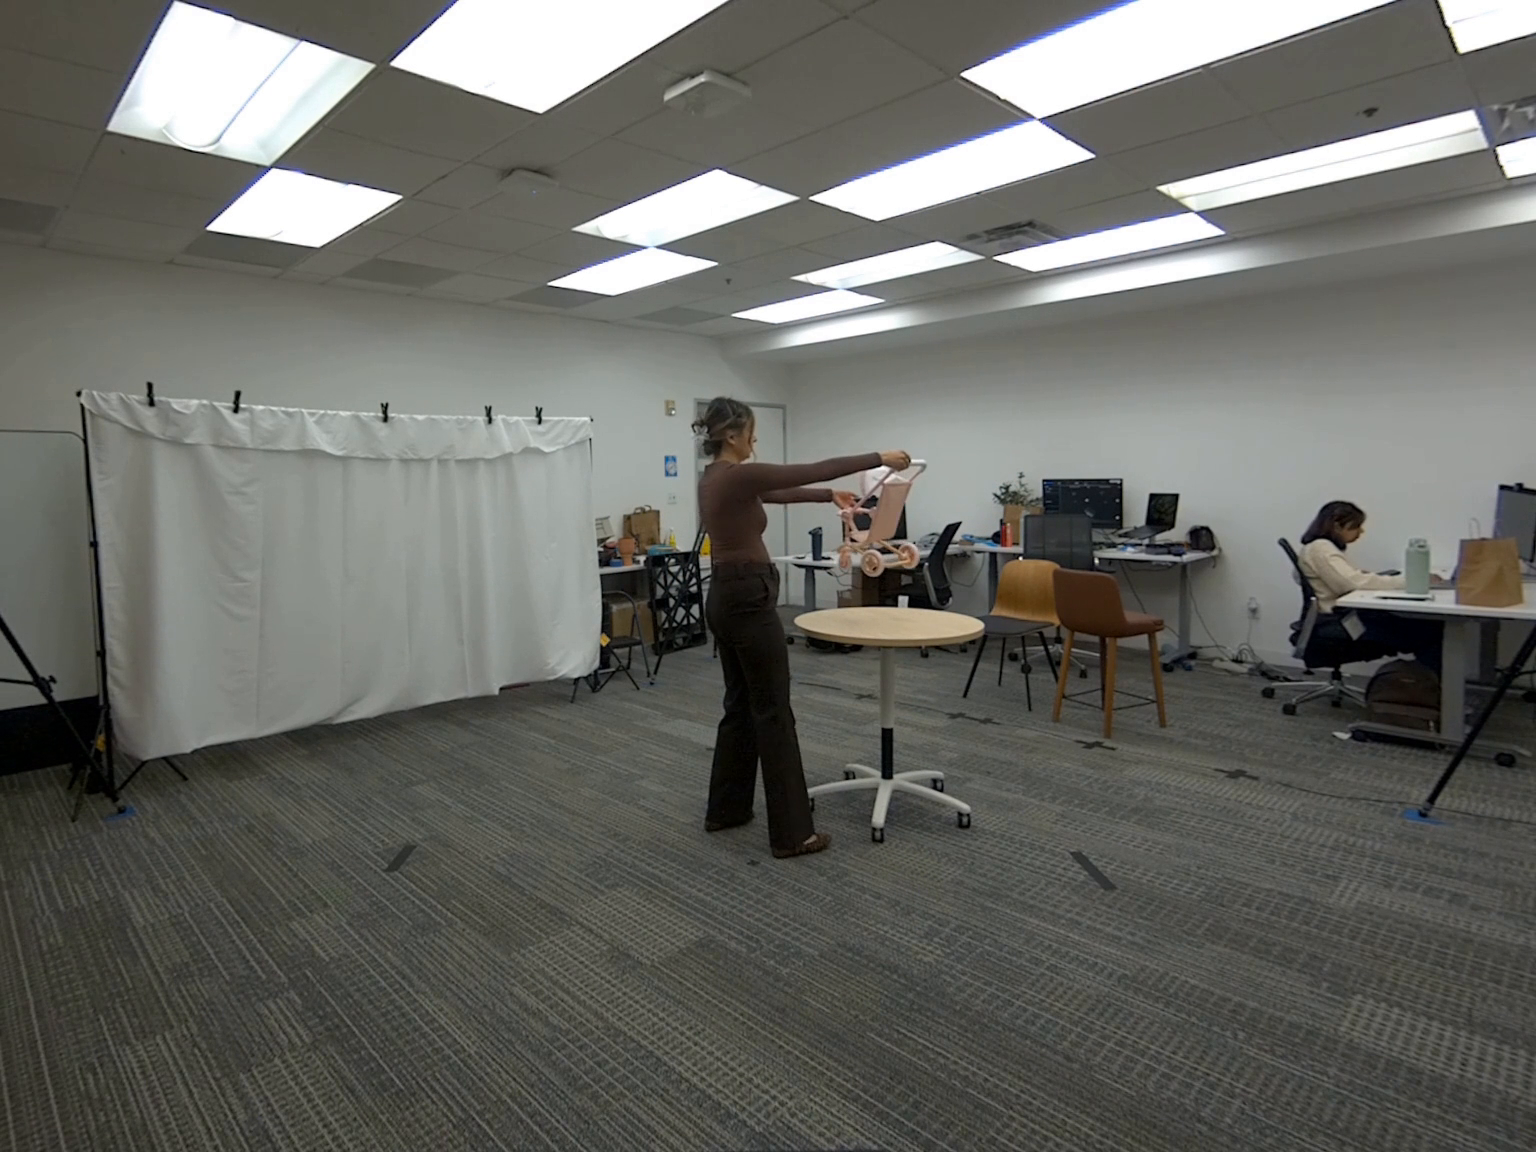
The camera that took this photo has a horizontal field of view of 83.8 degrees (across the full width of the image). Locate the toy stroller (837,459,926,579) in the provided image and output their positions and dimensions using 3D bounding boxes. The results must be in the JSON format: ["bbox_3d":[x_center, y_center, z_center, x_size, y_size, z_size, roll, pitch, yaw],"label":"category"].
[{"bbox_3d":[0.449,-0.250,3.582,0.274,0.529,0.354,-7,19,-38],"label":"toy stroller"}]
